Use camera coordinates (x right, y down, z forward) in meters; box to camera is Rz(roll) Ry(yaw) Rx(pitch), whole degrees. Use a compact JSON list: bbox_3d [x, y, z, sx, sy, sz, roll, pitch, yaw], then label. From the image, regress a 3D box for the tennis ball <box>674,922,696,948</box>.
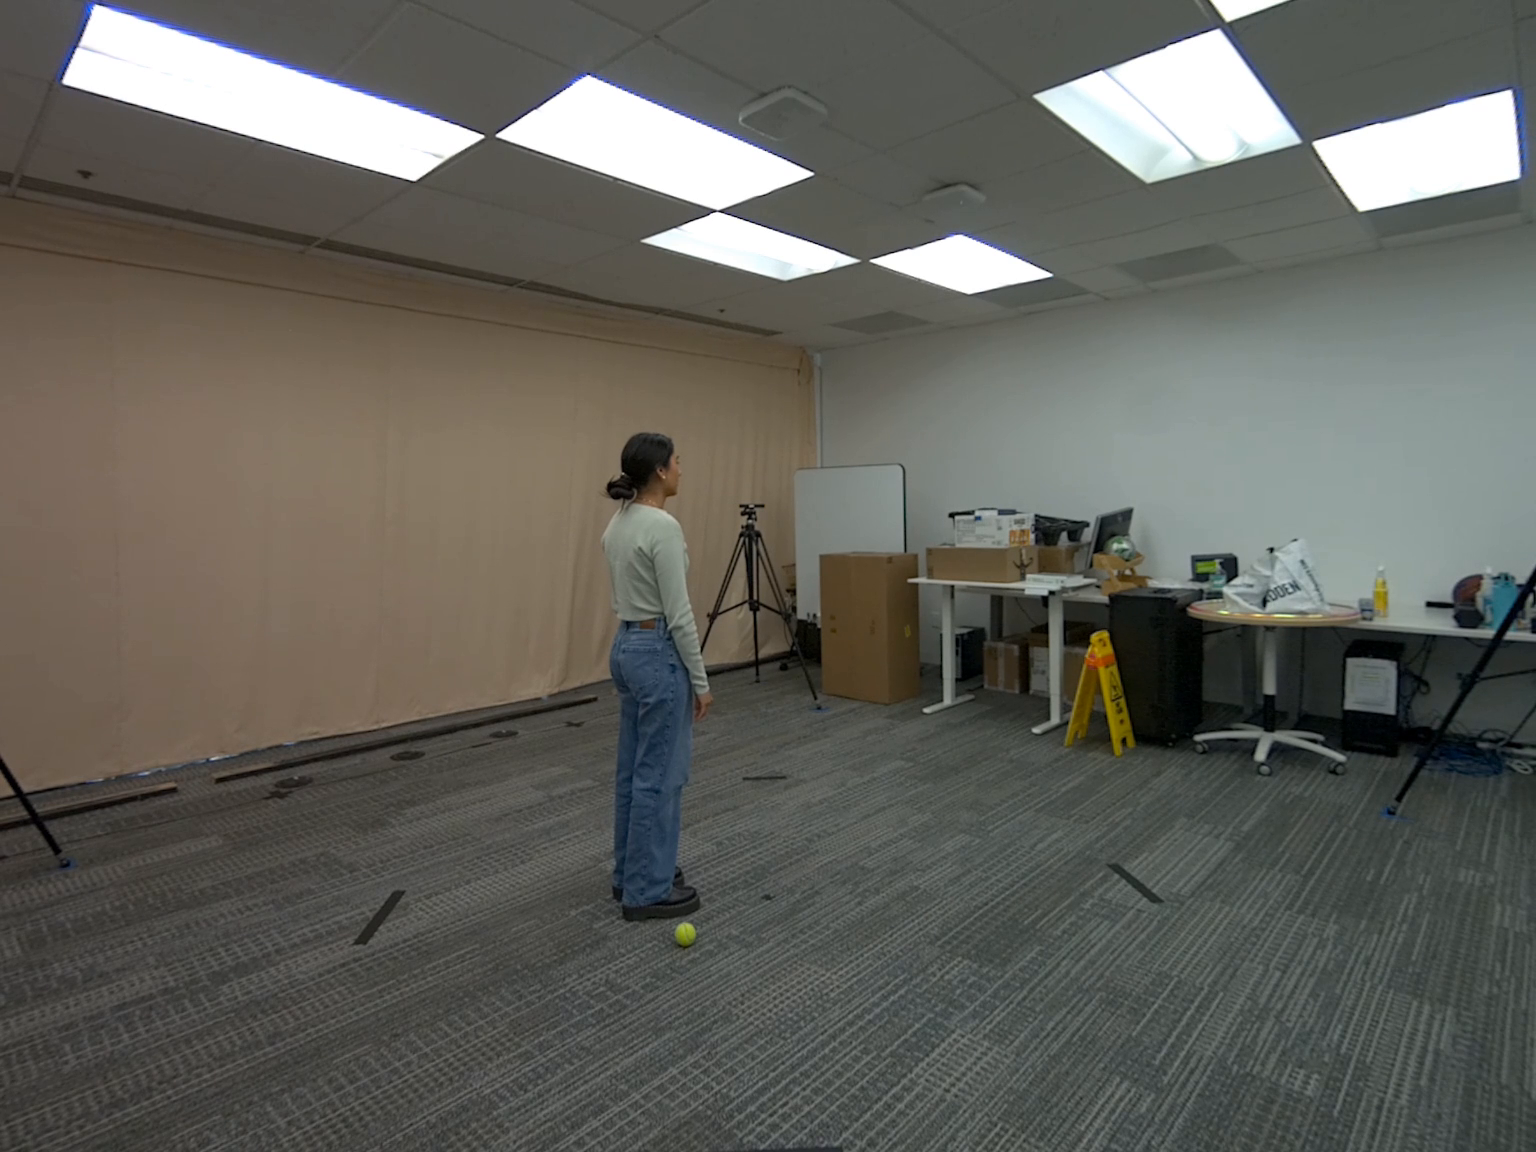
[{"bbox_3d":[-0.258,1.126,2.658,0.066,0.066,0.067,-1,4,-2],"label":"tennis ball"}]
